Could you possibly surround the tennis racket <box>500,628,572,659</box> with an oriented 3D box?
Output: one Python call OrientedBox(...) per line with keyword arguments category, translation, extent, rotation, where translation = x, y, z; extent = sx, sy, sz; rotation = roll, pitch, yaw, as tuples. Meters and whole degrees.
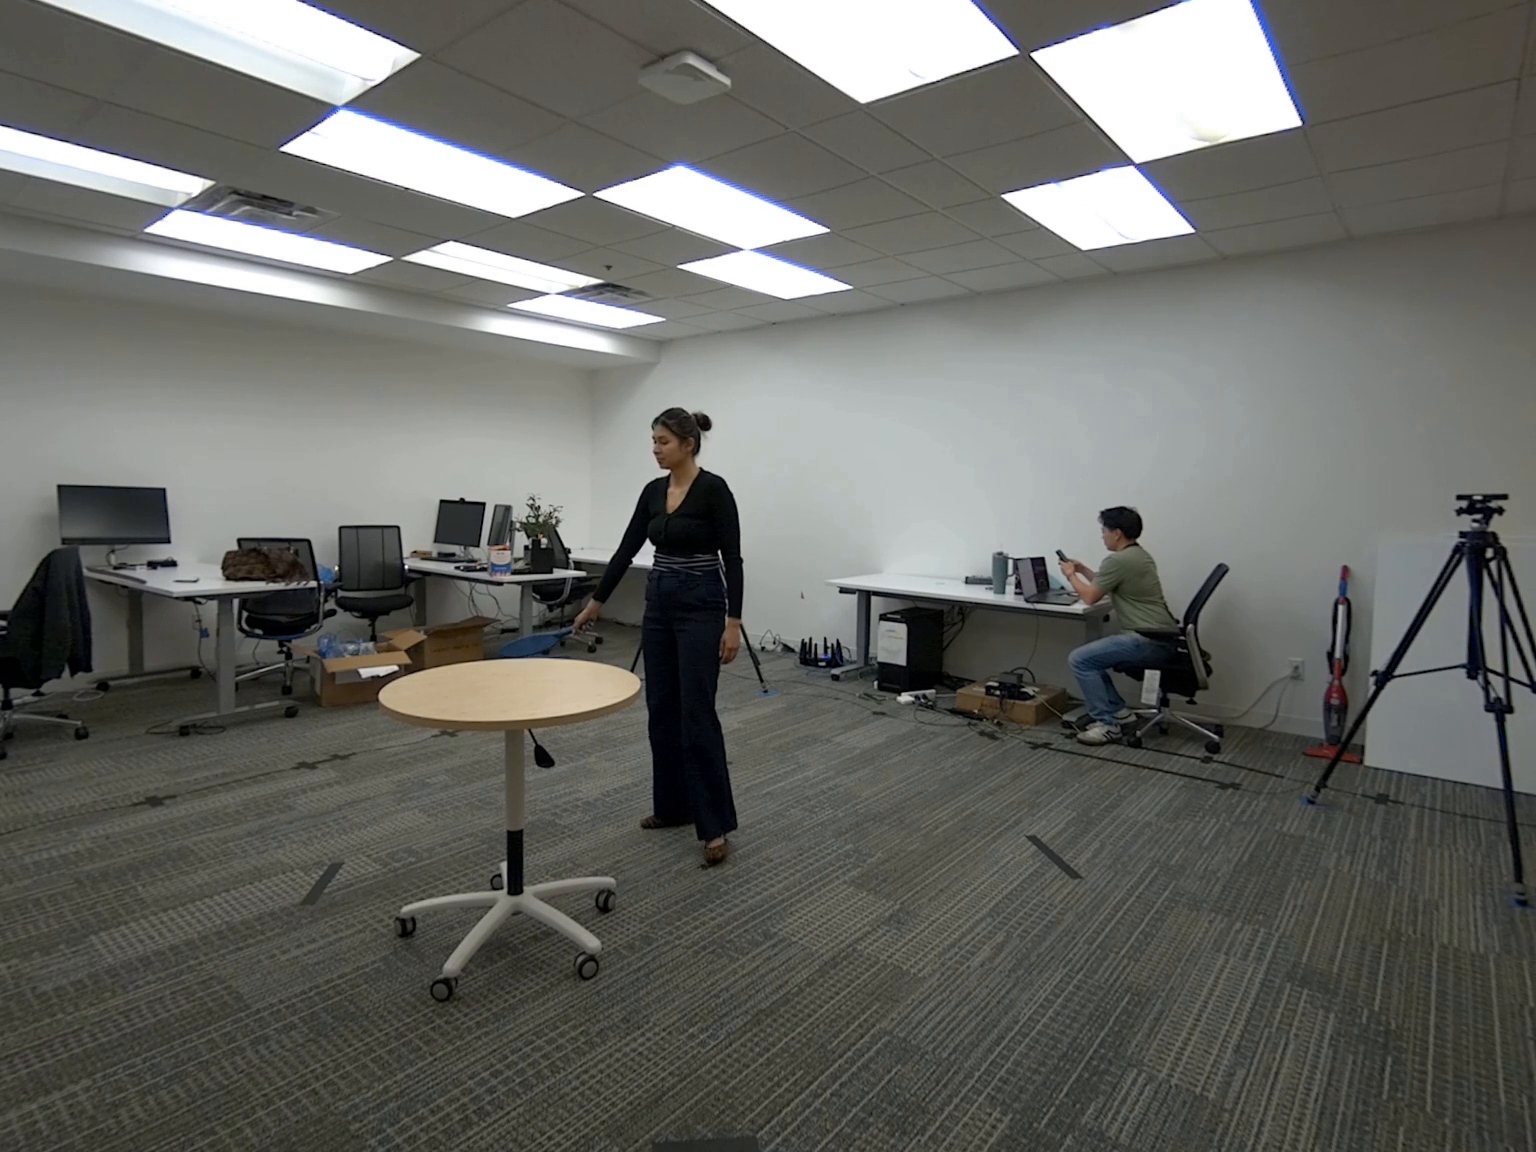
OrientedBox(category="tennis racket", translation=(-0.960, 0.264, 3.620), extent=(0.436, 0.032, 0.207), rotation=(-19, -21, 10))
